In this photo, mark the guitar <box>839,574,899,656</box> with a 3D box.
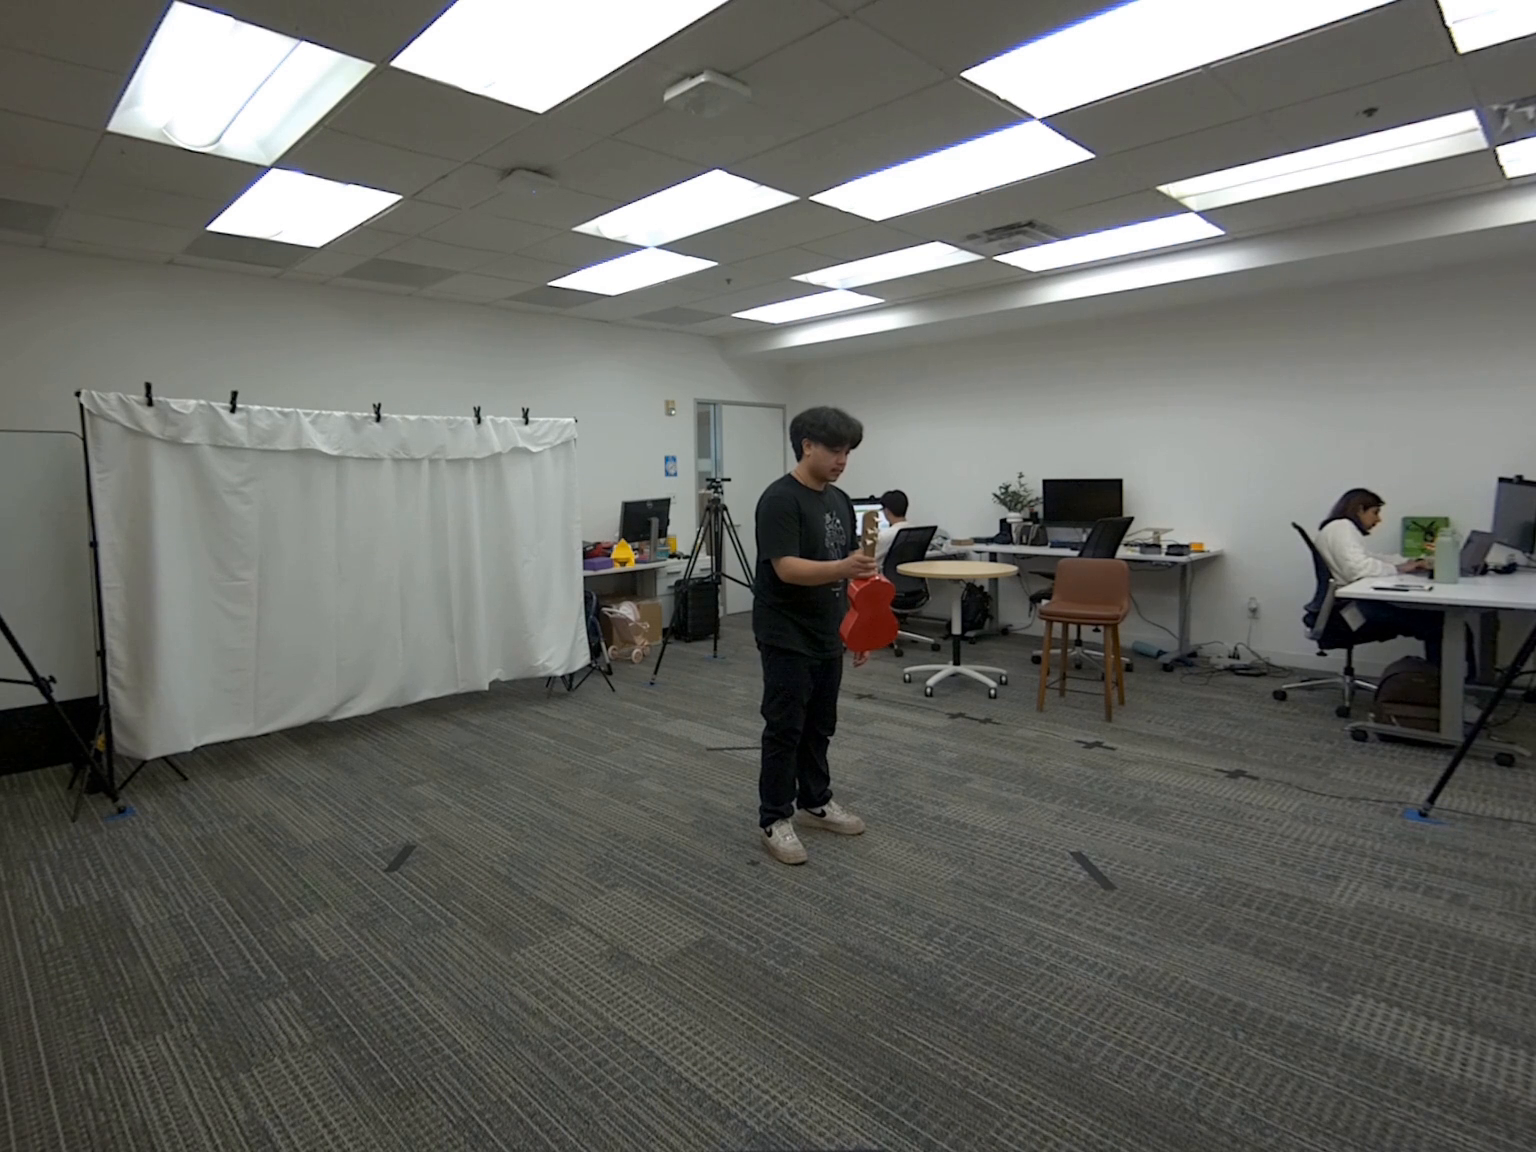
[{"bbox_3d":[0.303,0.031,2.817,0.191,0.484,0.073,-17,29,-11],"label":"guitar"}]
